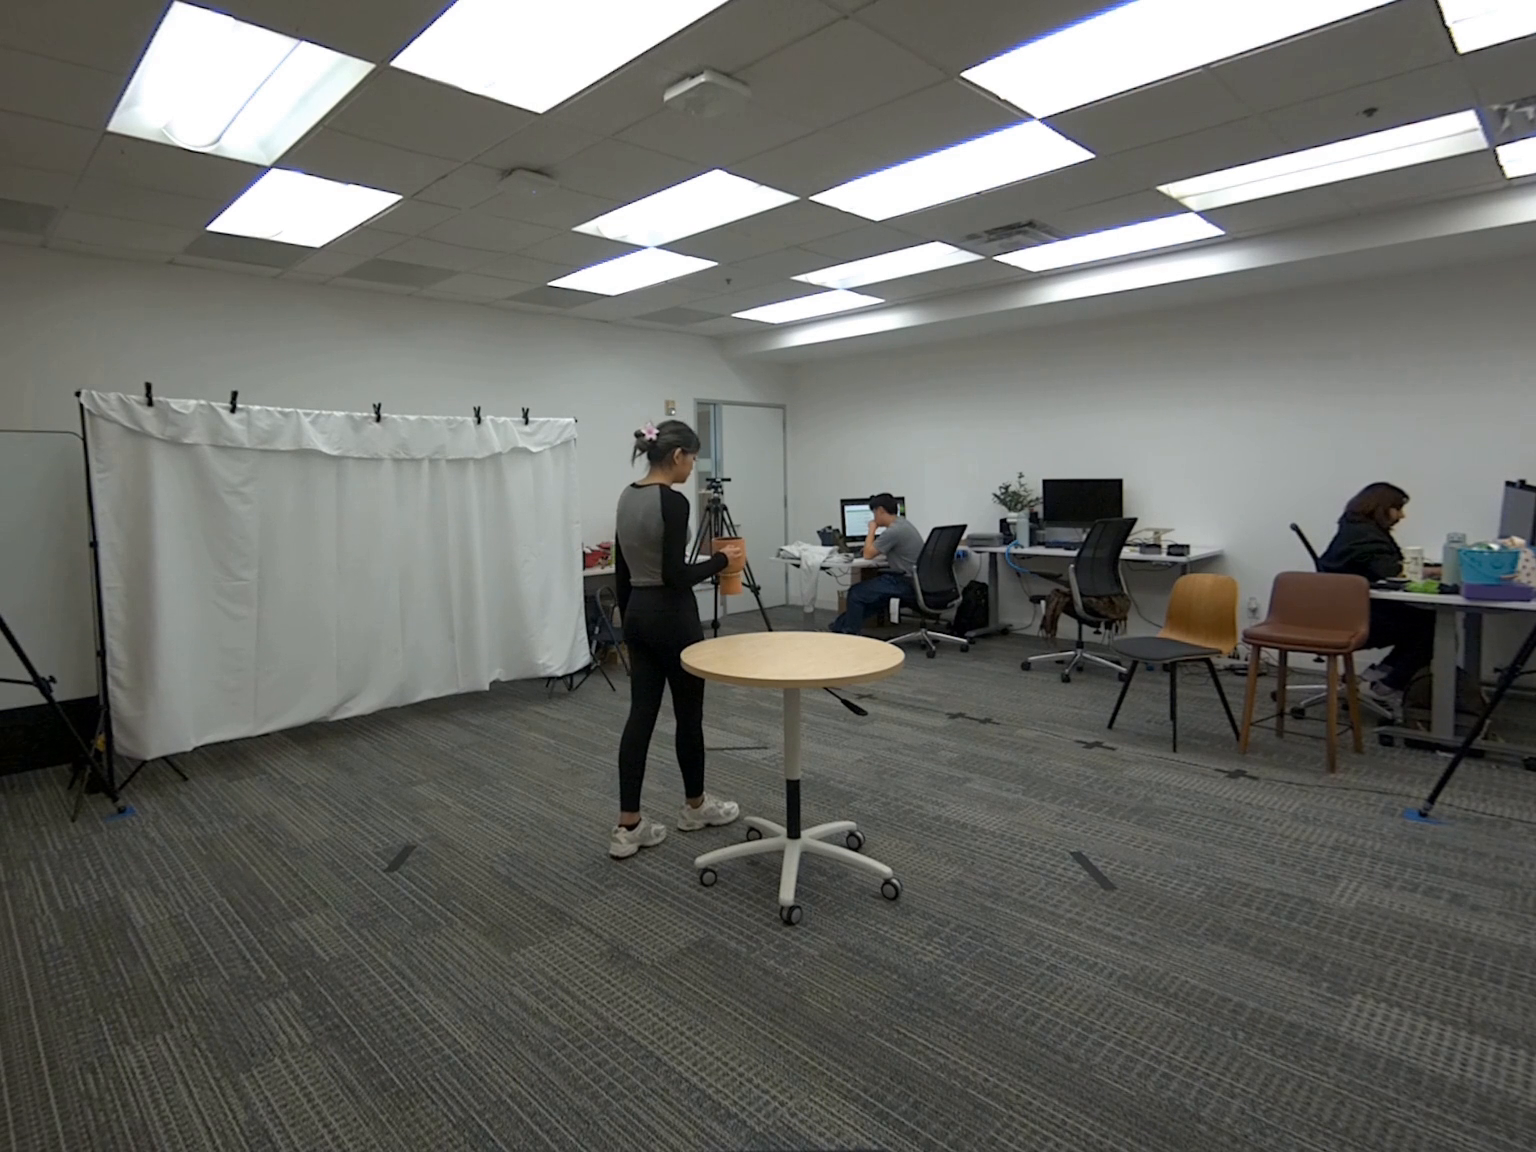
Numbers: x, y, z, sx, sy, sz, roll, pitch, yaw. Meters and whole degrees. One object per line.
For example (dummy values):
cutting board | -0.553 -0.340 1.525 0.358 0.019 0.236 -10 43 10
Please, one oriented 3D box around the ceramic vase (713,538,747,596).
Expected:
ceramic vase | -0.165 -0.043 3.438 0.138 0.218 0.156 0 8 27
